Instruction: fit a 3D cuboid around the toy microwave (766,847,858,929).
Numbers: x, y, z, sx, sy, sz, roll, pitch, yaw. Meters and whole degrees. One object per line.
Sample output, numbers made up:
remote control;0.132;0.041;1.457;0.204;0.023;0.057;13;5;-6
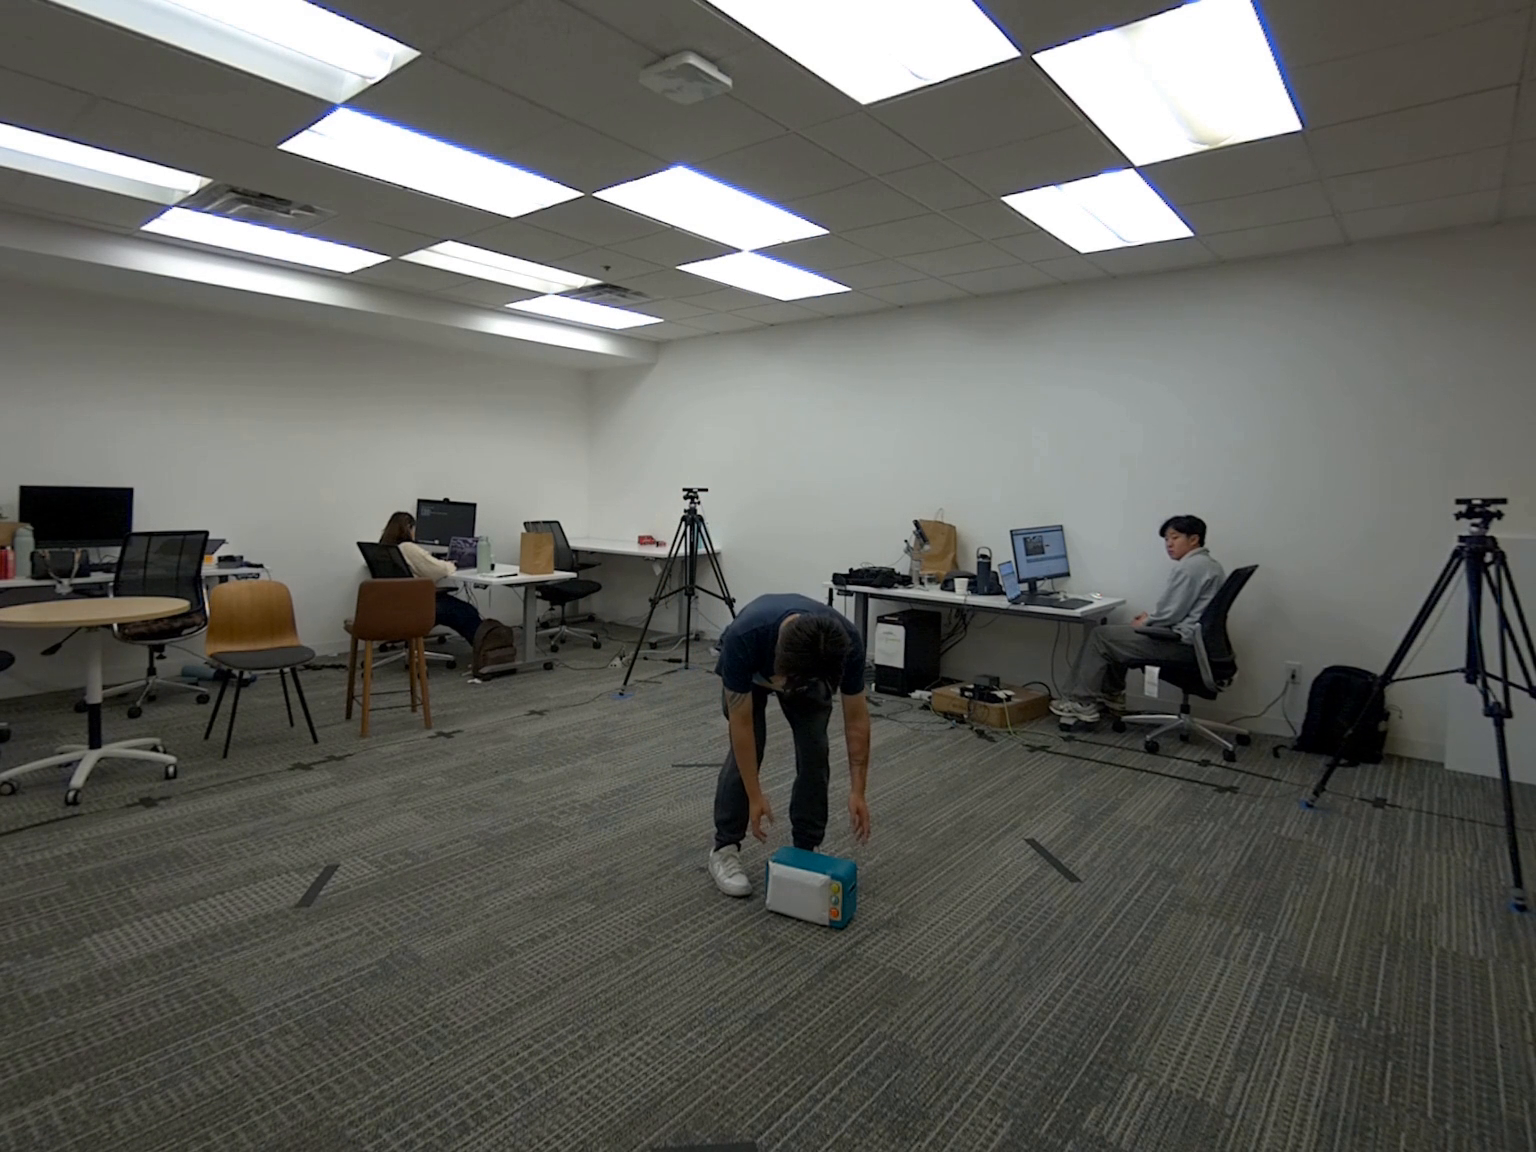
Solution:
toy microwave;0.129;1.015;2.790;0.294;0.183;0.149;4;5;25
